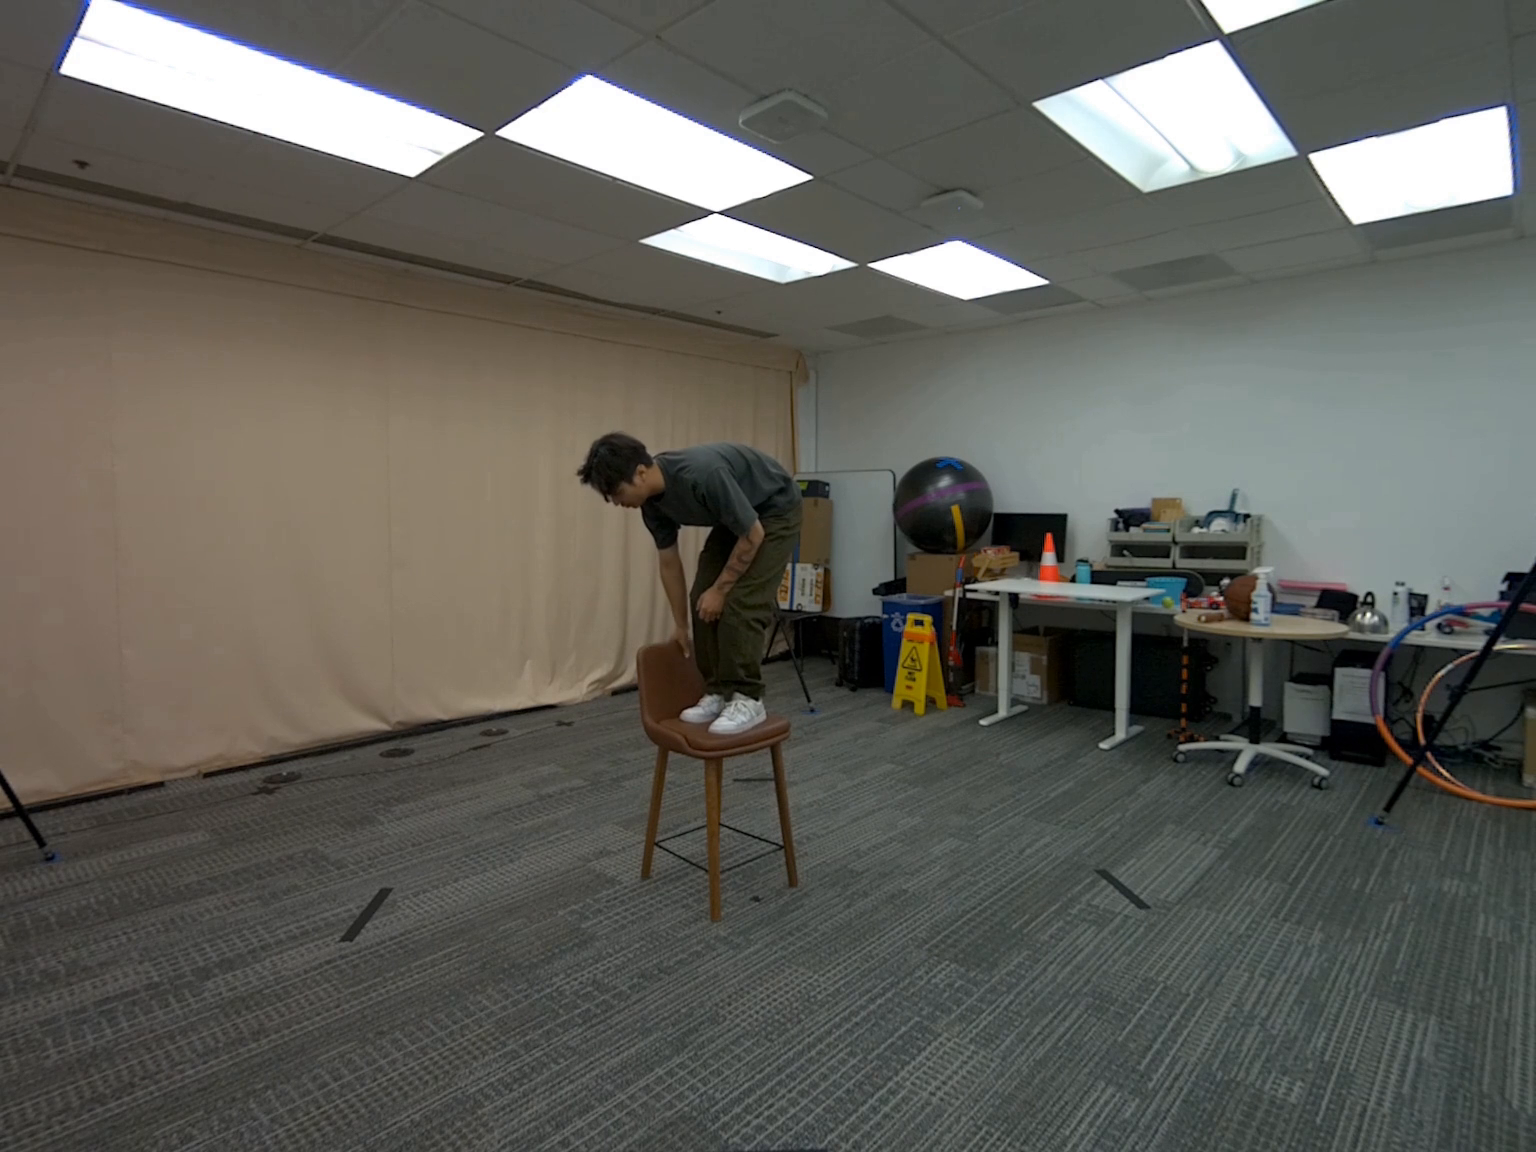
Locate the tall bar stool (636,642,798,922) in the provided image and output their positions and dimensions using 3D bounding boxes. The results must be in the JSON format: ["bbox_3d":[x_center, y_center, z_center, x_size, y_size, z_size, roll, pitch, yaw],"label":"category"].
[{"bbox_3d":[-0.196,0.697,3.097,0.442,0.889,0.483,-3,3,-43],"label":"tall bar stool"}]
